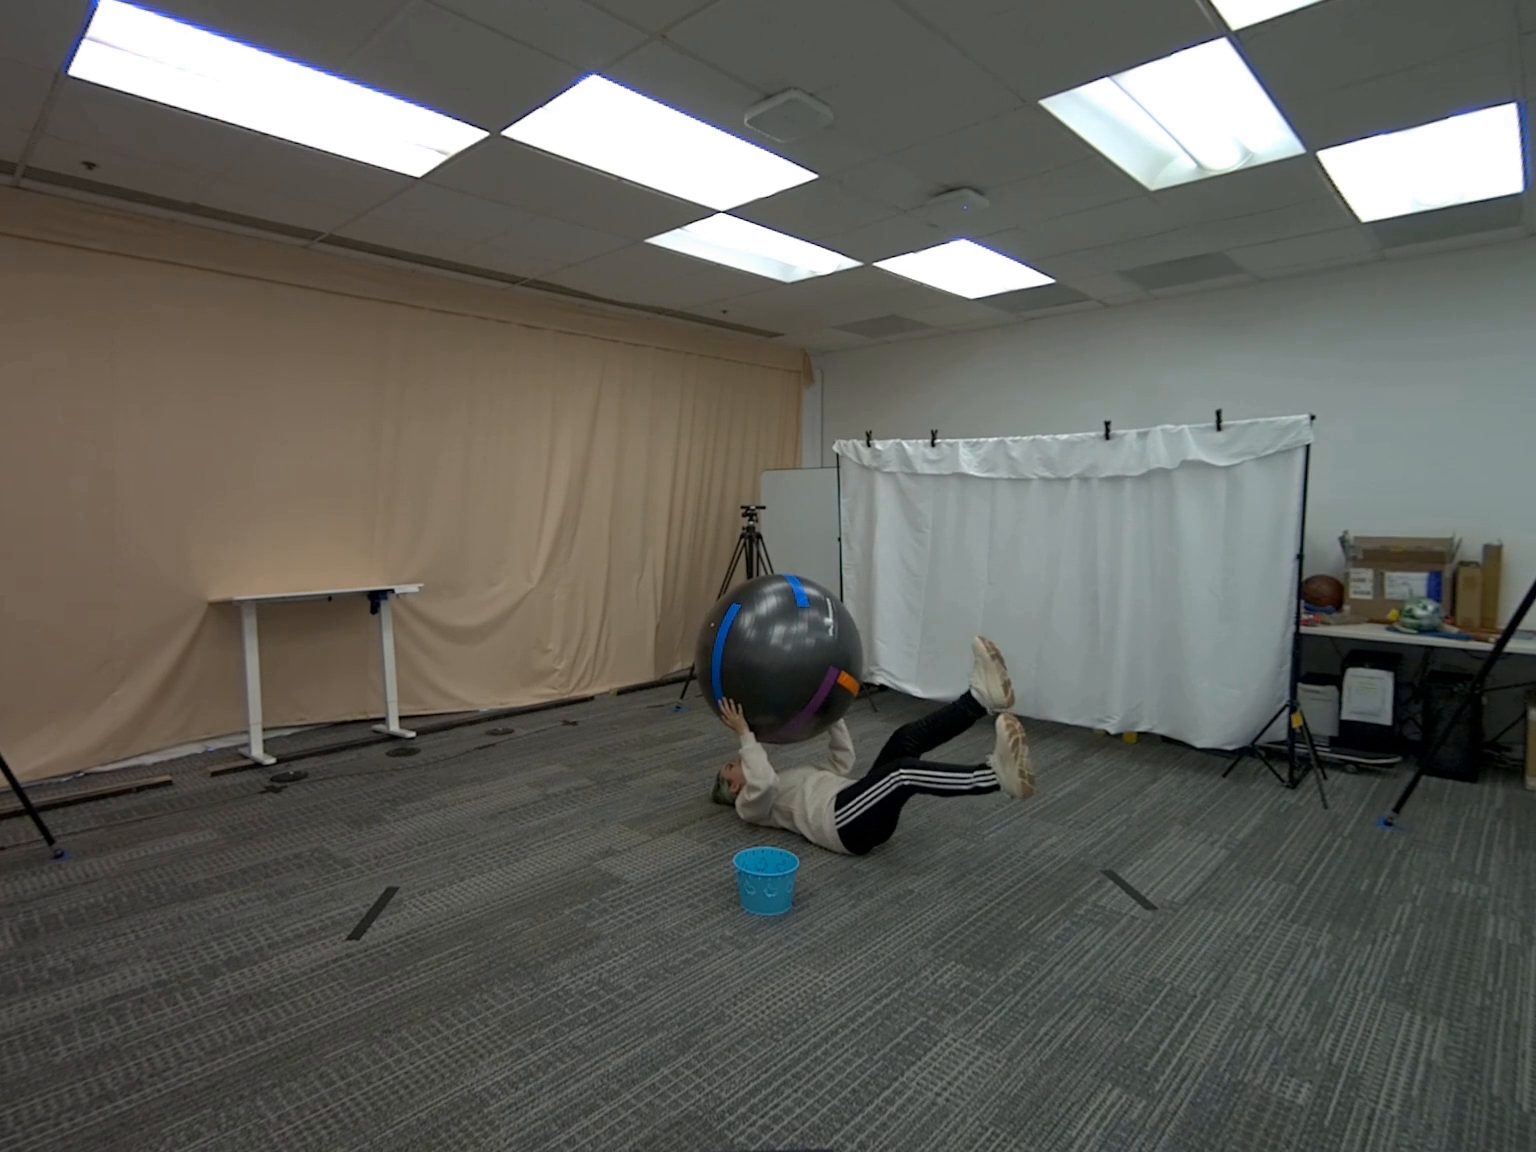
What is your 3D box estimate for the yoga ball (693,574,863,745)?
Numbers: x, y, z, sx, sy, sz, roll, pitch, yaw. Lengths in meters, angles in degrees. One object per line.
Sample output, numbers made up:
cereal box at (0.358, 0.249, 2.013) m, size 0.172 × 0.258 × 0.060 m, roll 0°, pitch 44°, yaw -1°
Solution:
yoga ball at (0.051, 0.370, 3.793) m, size 0.757 × 0.756 × 0.760 m, roll 0°, pitch 4°, yaw -2°
